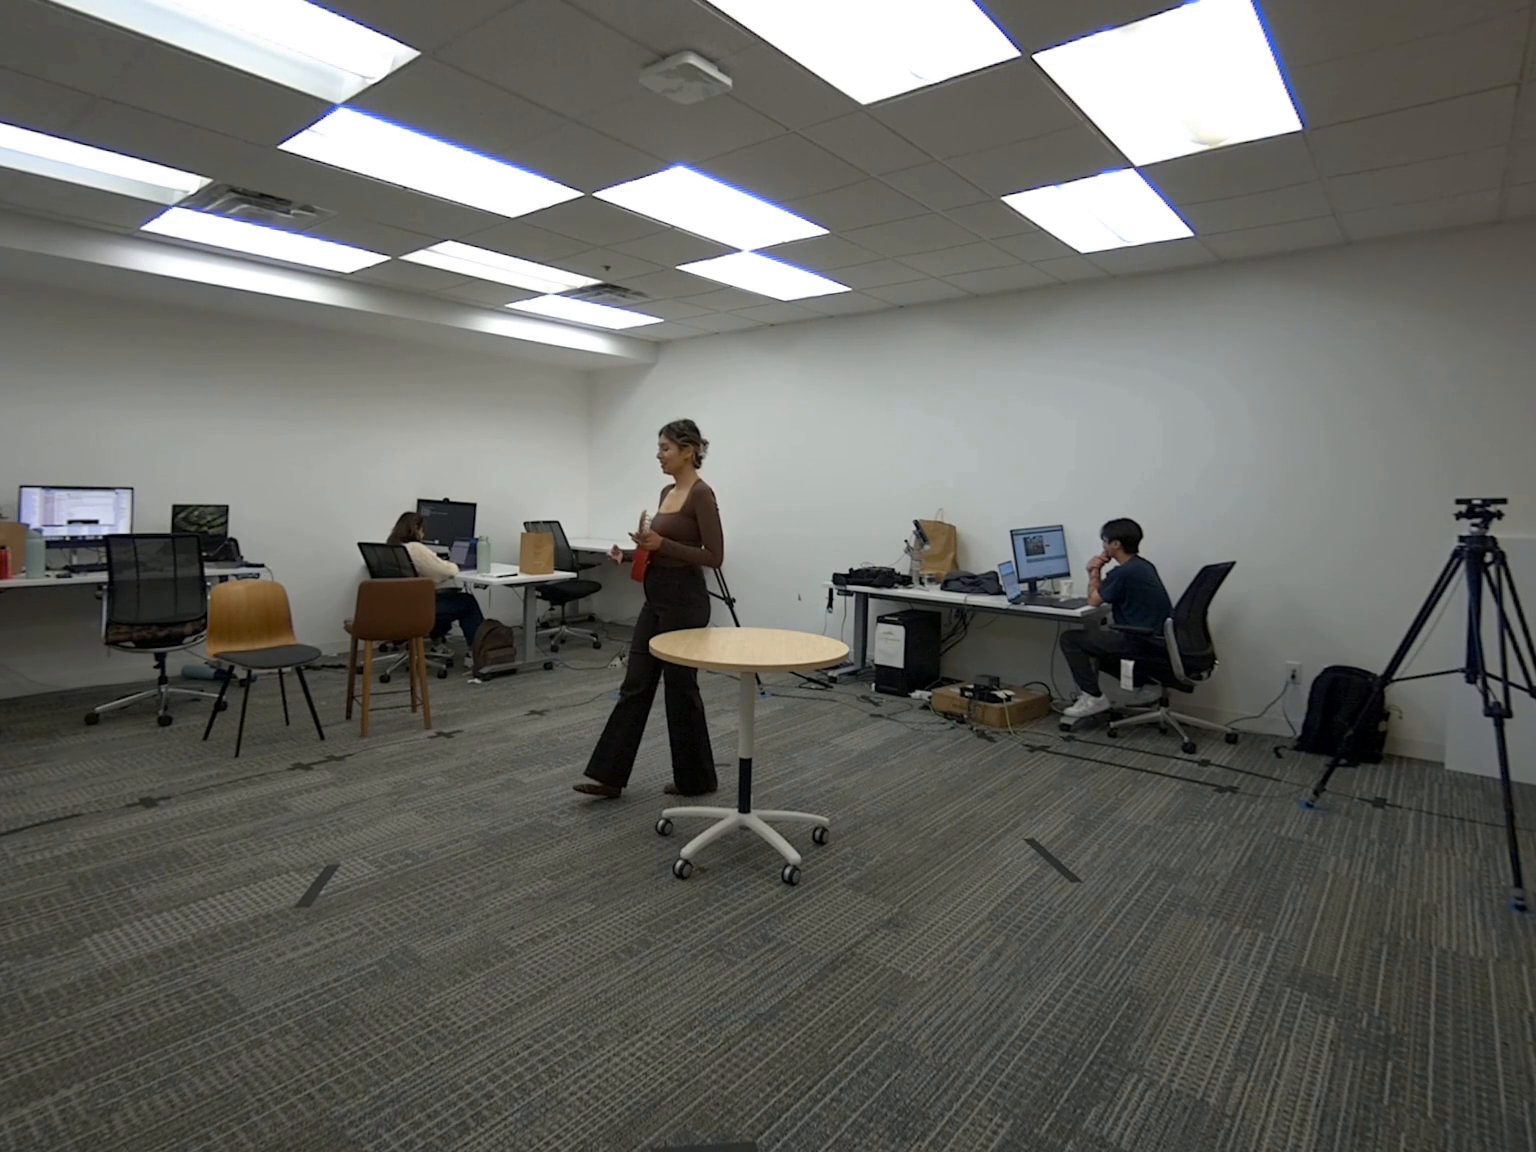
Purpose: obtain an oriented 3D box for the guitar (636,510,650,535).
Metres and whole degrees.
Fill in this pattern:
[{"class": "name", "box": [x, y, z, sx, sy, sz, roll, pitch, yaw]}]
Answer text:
[{"class": "guitar", "box": [-0.565, -0.123, 3.685, 0.070, 0.195, 0.493, 18, -18, -3]}]
